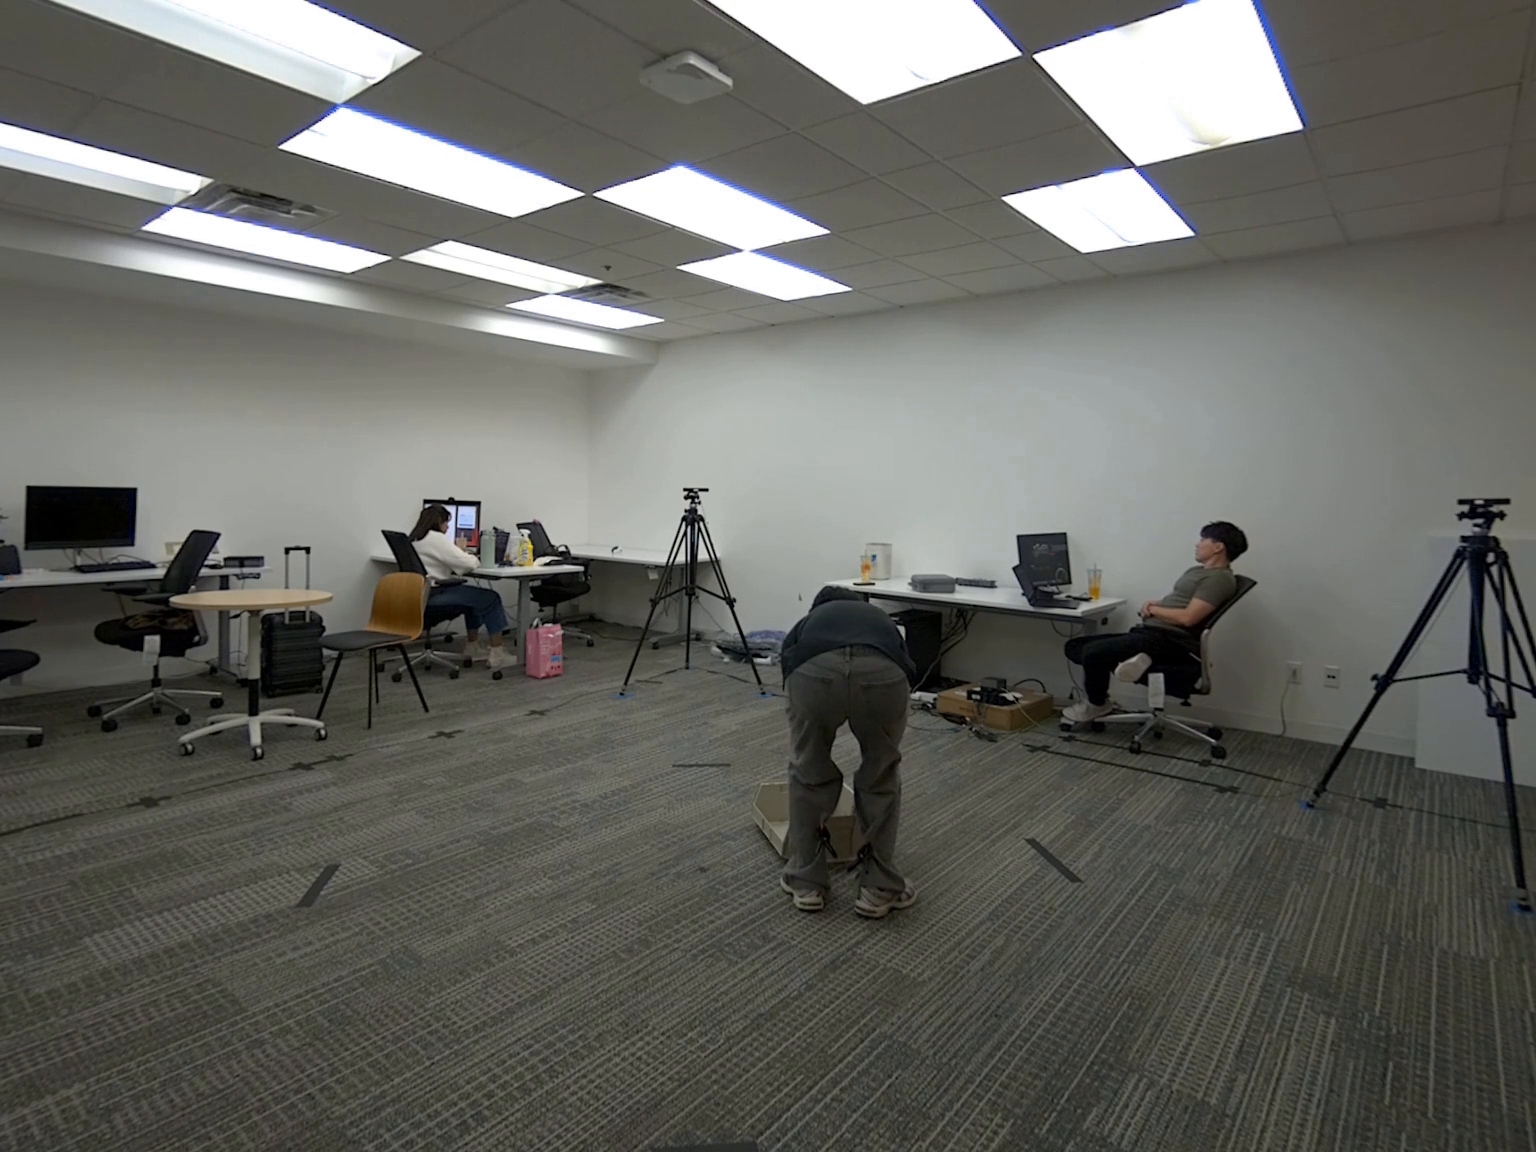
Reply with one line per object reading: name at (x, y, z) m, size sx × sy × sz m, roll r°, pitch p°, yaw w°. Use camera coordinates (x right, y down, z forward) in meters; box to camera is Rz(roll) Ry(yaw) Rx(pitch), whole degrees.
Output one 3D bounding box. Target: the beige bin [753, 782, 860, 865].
beige bin at (0.166, 0.962, 3.376) m, size 0.371 × 0.188 × 0.430 m, roll 1°, pitch 4°, yaw -15°
